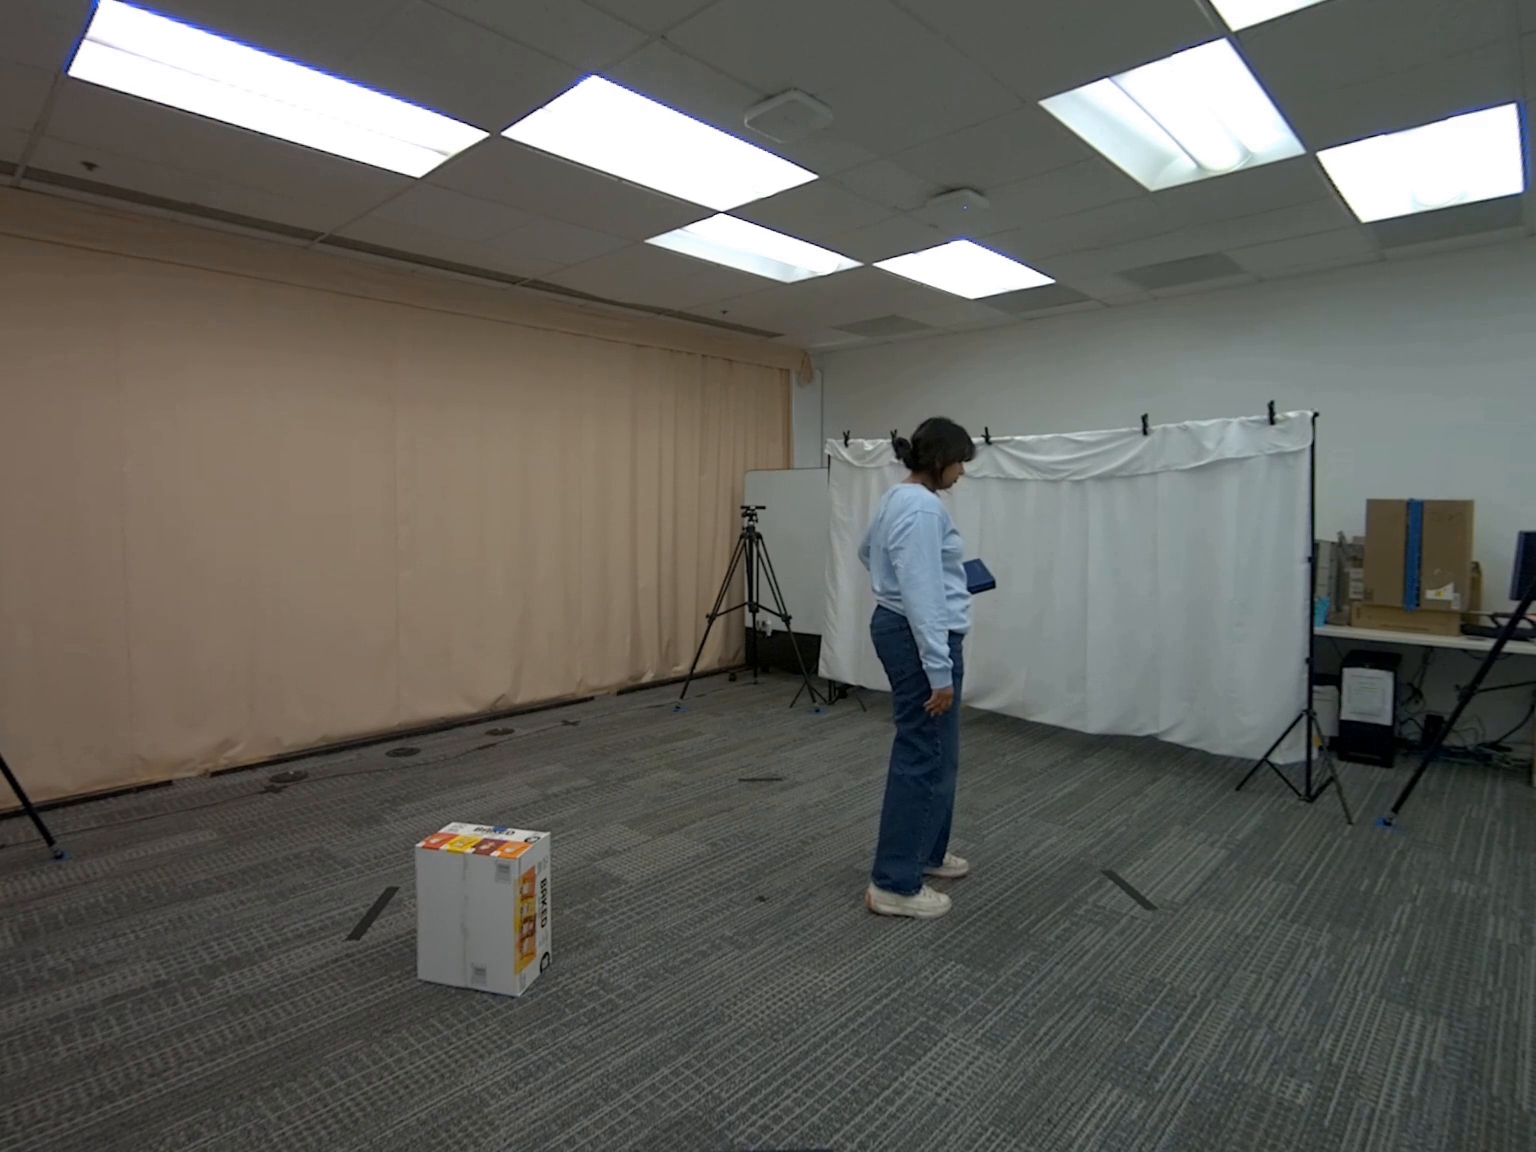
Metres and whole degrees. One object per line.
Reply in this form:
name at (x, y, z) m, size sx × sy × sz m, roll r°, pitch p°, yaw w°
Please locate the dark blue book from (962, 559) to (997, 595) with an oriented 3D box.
dark blue book at (0.762, 0.016, 3.315) m, size 0.245 × 0.044 × 0.167 m, roll -15°, pitch 33°, yaw 0°
